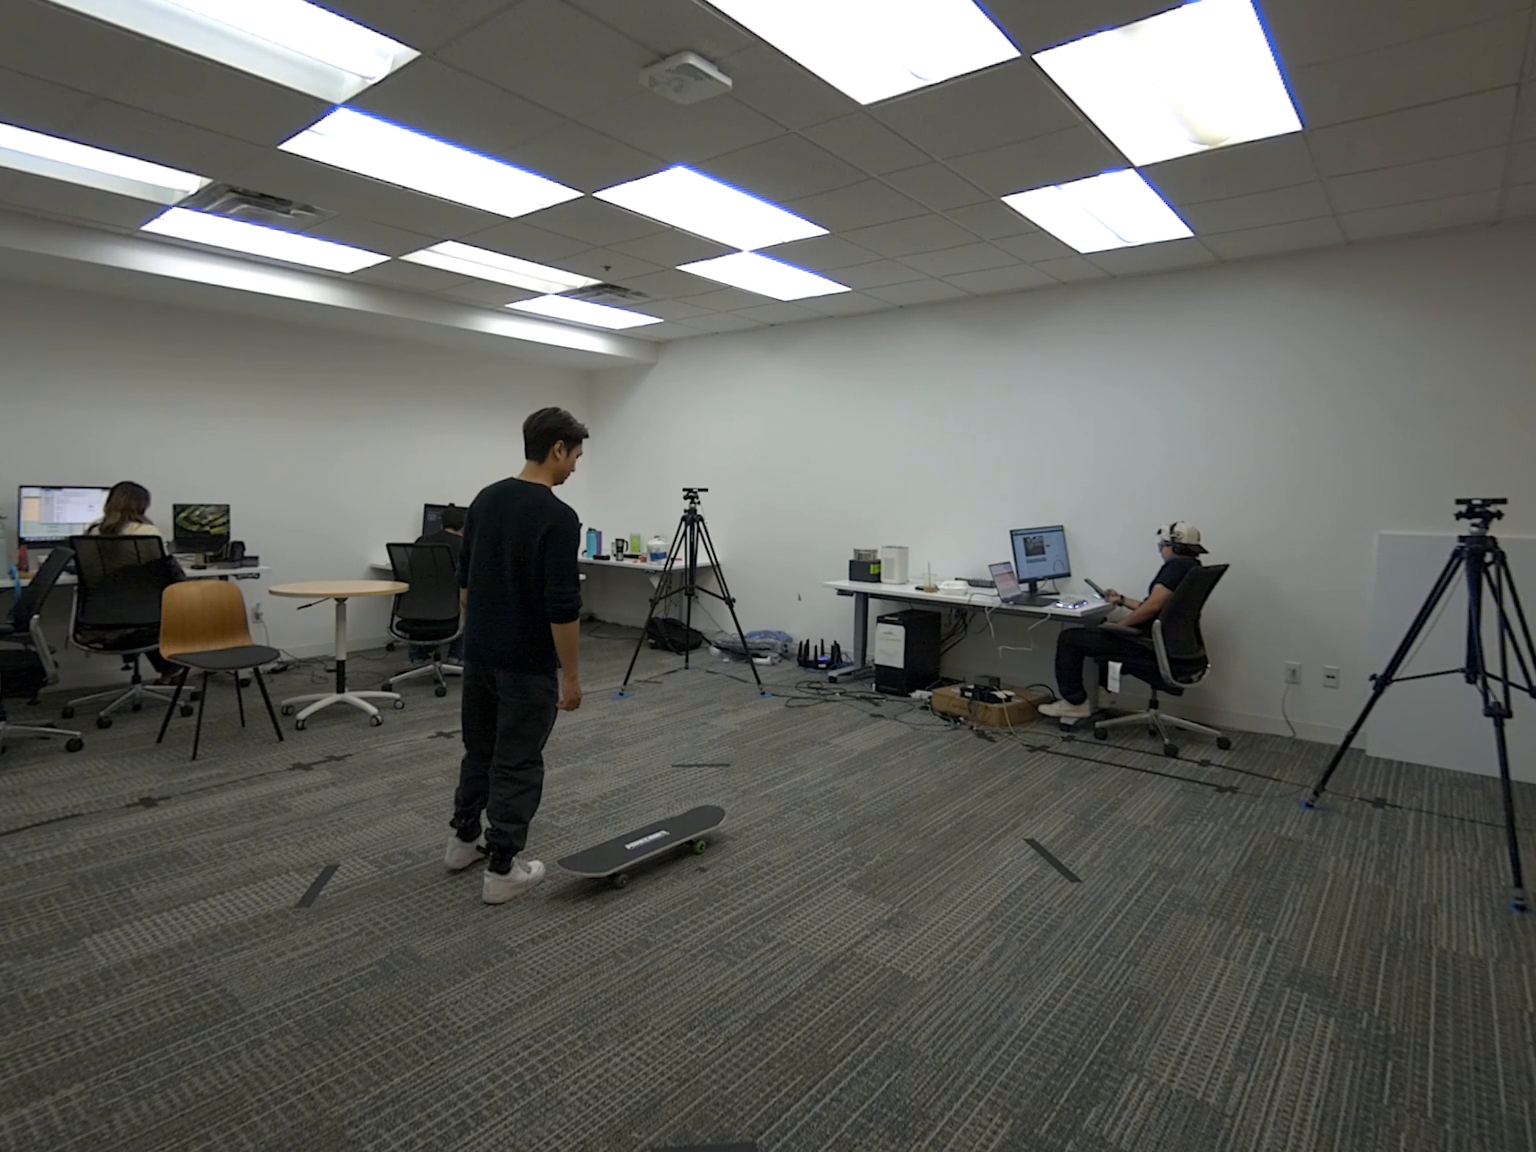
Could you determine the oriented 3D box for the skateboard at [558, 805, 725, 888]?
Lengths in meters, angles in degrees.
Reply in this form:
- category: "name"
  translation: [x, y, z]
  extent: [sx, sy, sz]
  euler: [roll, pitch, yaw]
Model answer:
- category: "skateboard"
  translation: [-0.455, 1.008, 3.149]
  extent: [0.200, 0.110, 0.763]
  euler: [6, 8, 39]
